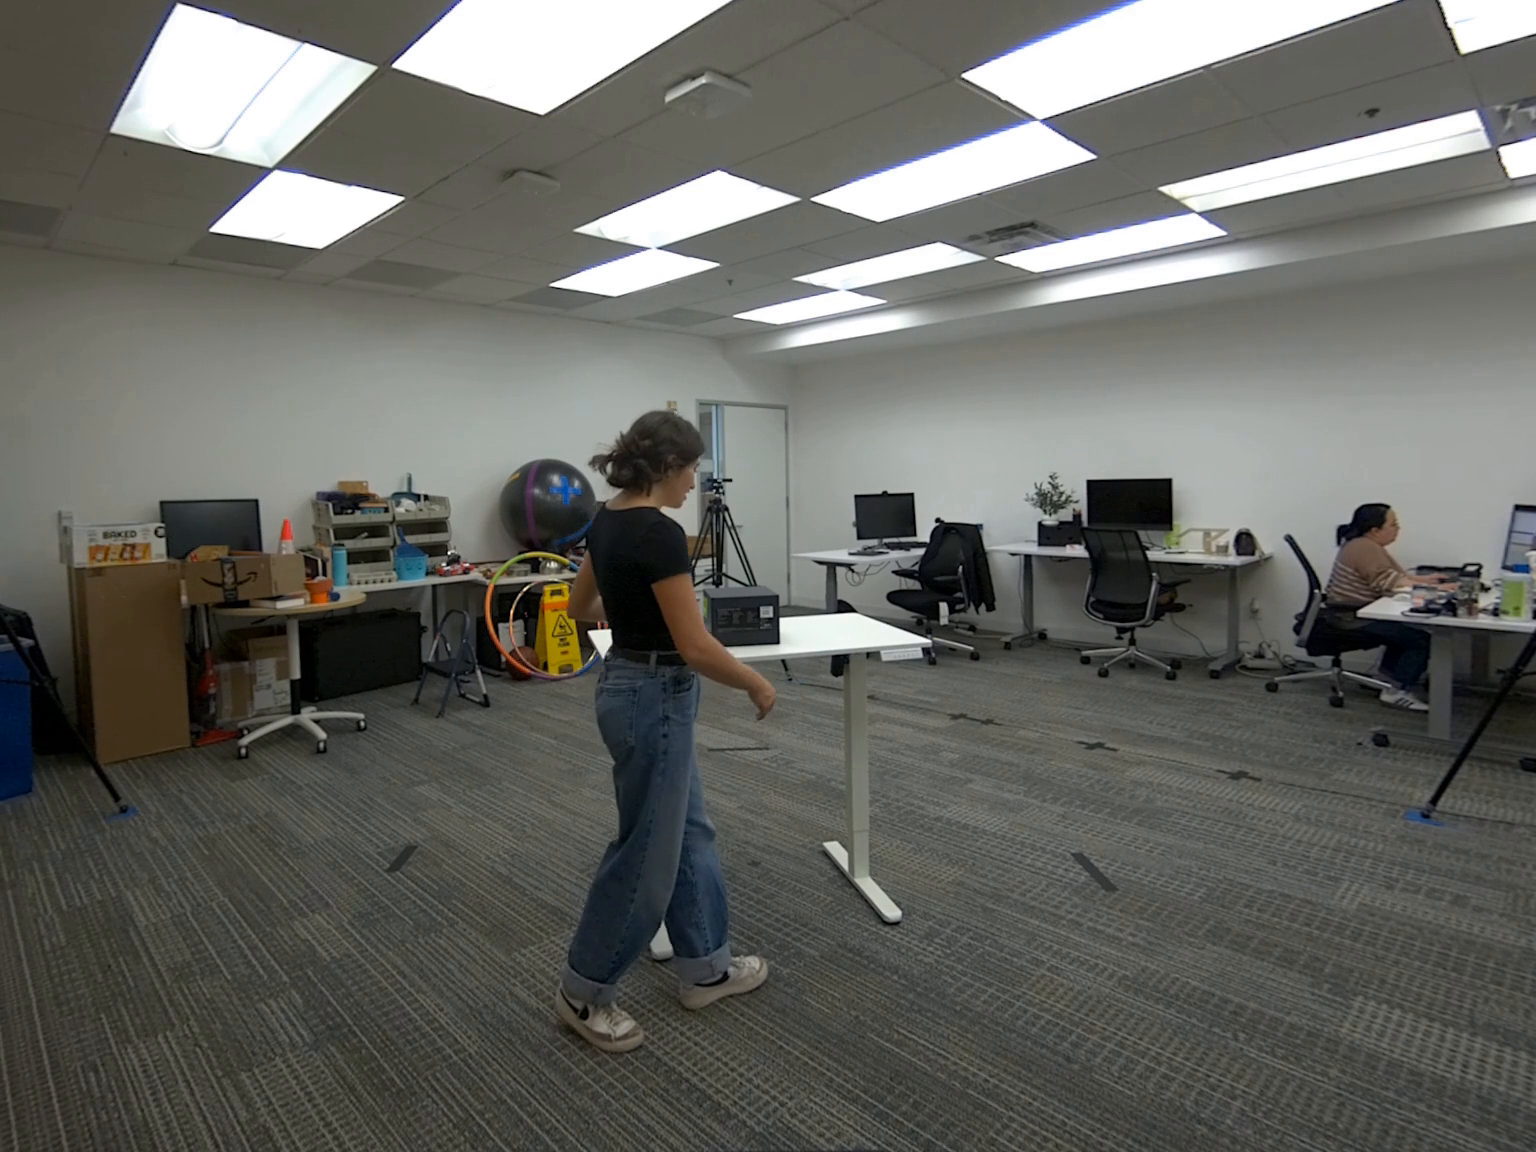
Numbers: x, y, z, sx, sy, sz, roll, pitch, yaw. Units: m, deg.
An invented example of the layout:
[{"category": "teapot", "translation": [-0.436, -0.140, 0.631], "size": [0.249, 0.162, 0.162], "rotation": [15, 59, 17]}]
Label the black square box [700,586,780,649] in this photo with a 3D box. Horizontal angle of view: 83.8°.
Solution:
[{"category": "black square box", "translation": [-0.089, 0.122, 2.743], "size": [0.215, 0.155, 0.230], "rotation": [-2, 6, -7]}]
